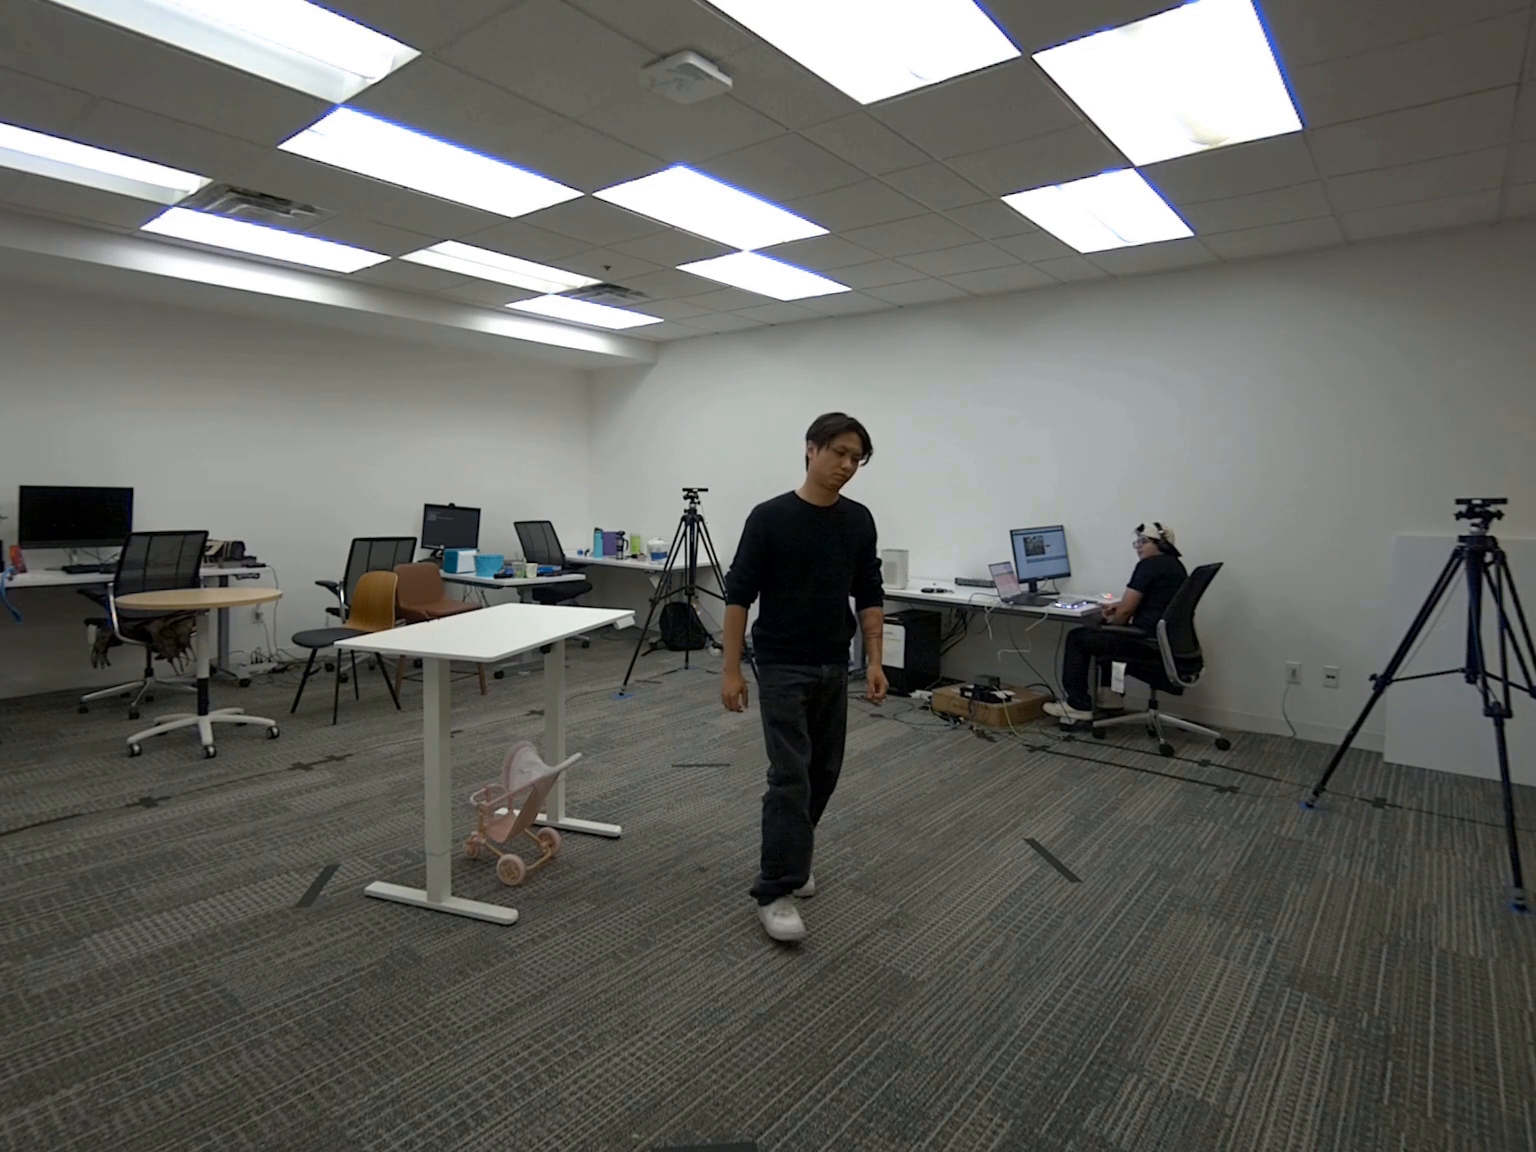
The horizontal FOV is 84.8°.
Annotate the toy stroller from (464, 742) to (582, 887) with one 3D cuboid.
[{"bbox_3d":[-0.931,0.839,3.088,0.351,0.532,0.275,20,10,20],"label":"toy stroller"}]
